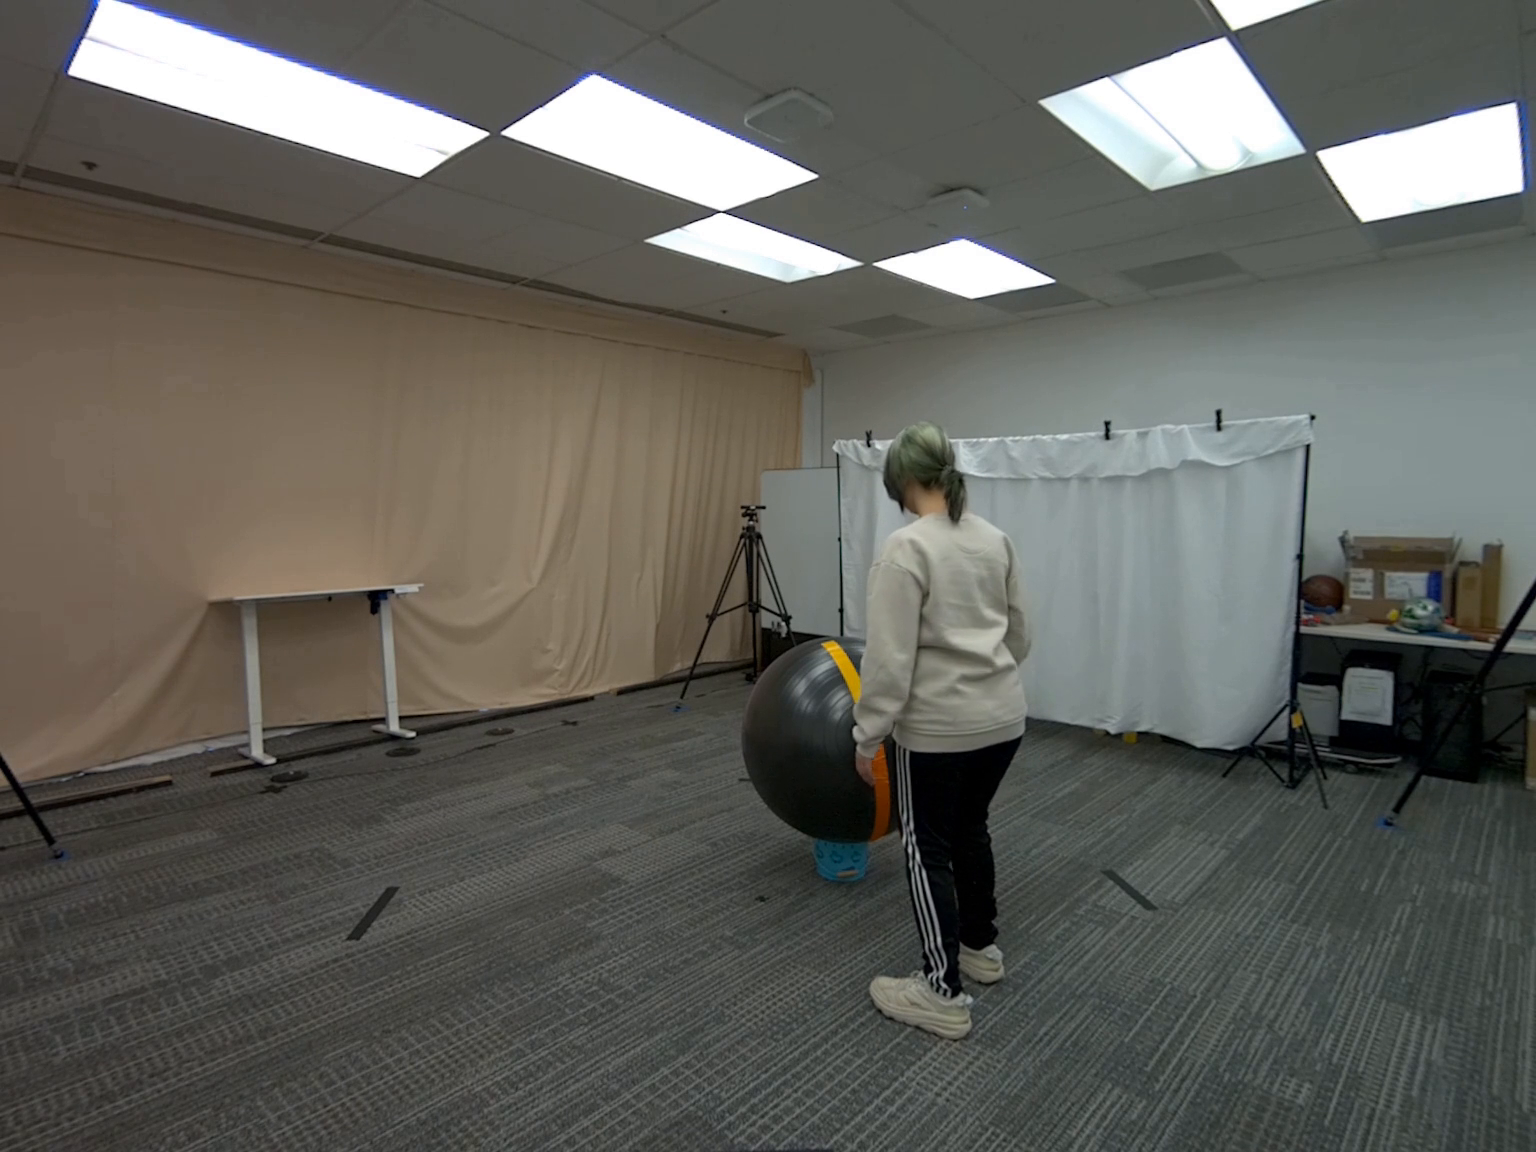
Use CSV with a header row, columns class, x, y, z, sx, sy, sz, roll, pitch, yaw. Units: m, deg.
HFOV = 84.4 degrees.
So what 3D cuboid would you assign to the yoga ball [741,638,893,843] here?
class,x,y,z,sx,sy,sz,roll,pitch,yaw
yoga ball,0.281,0.612,3.186,0.757,0.756,0.760,0,4,-2
